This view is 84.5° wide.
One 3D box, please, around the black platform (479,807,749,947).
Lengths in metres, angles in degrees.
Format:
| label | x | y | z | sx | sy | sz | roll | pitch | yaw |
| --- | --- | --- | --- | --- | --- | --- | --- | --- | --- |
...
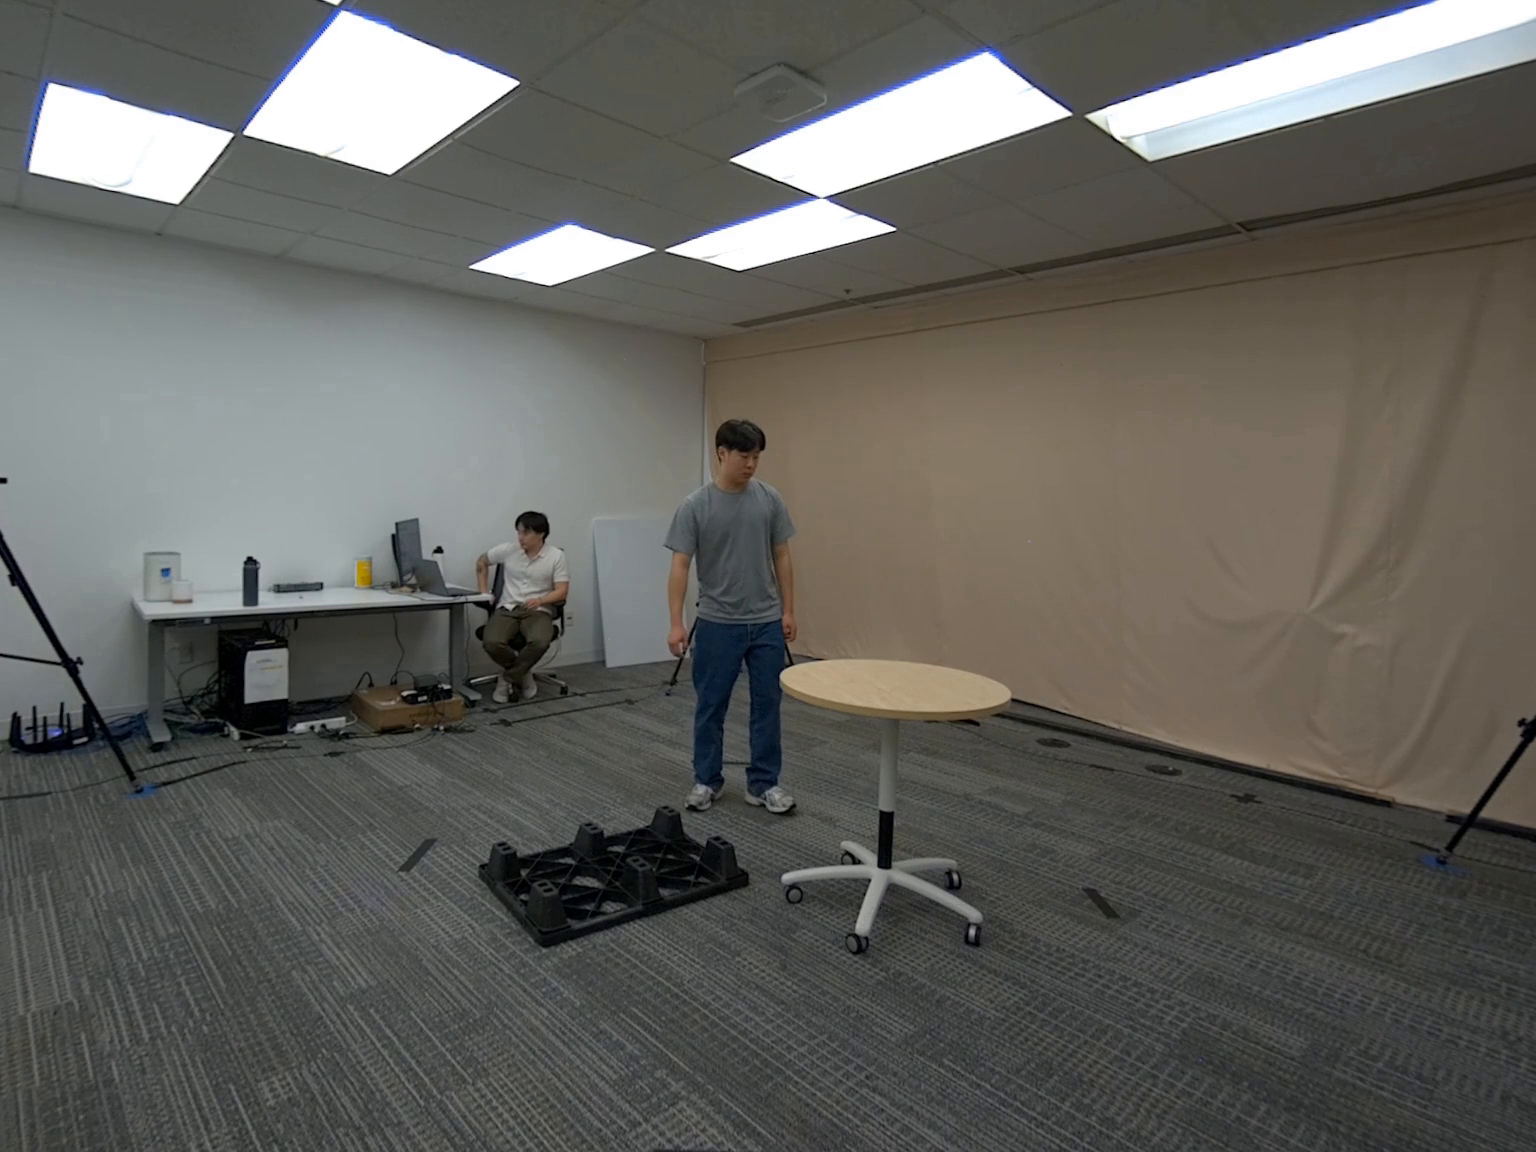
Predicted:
| label | x | y | z | sx | sy | sz | roll | pitch | yaw |
| --- | --- | --- | --- | --- | --- | --- | --- | --- | --- |
| black platform | -0.562 | 1.038 | 3.032 | 0.788 | 0.143 | 0.620 | -3 | 6 | -37 |
